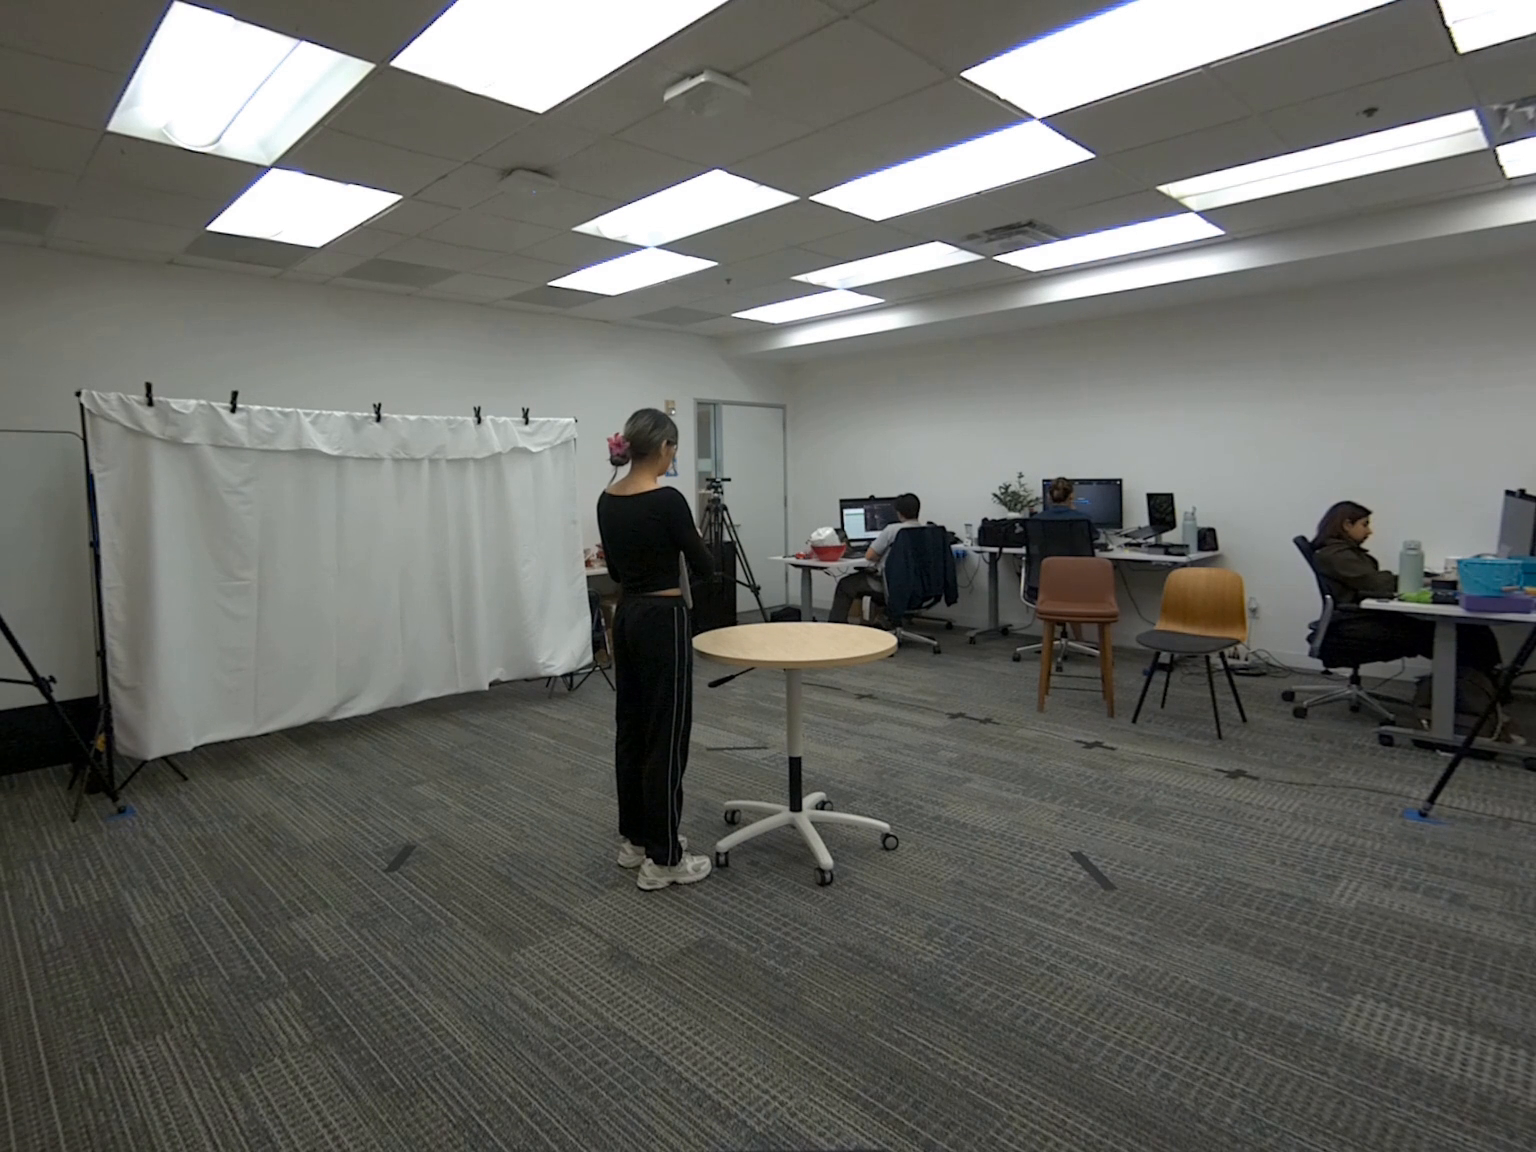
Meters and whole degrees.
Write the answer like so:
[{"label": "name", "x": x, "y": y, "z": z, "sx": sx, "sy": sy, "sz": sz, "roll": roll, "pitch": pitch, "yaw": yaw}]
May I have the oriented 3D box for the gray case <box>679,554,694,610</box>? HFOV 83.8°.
[{"label": "gray case", "x": -0.374, "y": -0.016, "z": 3.438, "sx": 0.104, "sy": 0.255, "sz": 0.263, "roll": -9, "pitch": 23, "yaw": -4}]
